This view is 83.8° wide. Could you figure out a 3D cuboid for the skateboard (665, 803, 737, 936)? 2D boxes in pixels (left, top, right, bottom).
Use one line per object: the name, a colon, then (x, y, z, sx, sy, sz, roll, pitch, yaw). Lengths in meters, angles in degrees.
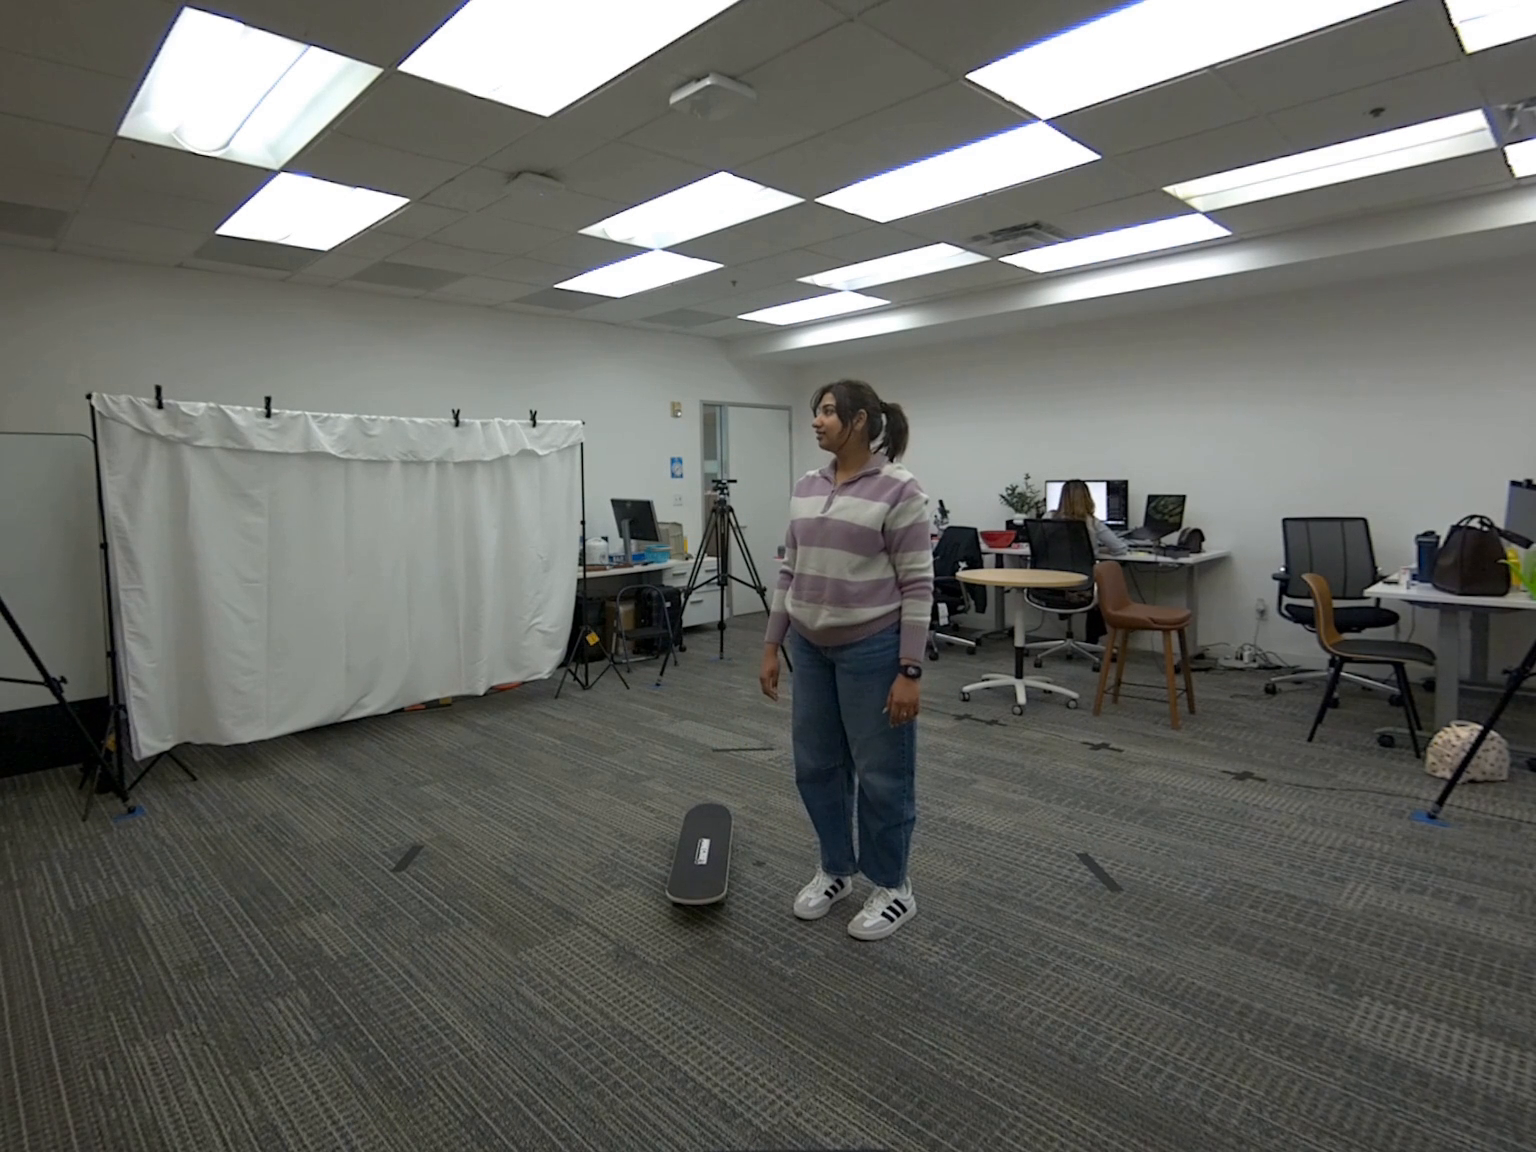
skateboard: (-0.221, 1.004, 3.027, 0.194, 0.110, 0.788, -1, 7, 0)
